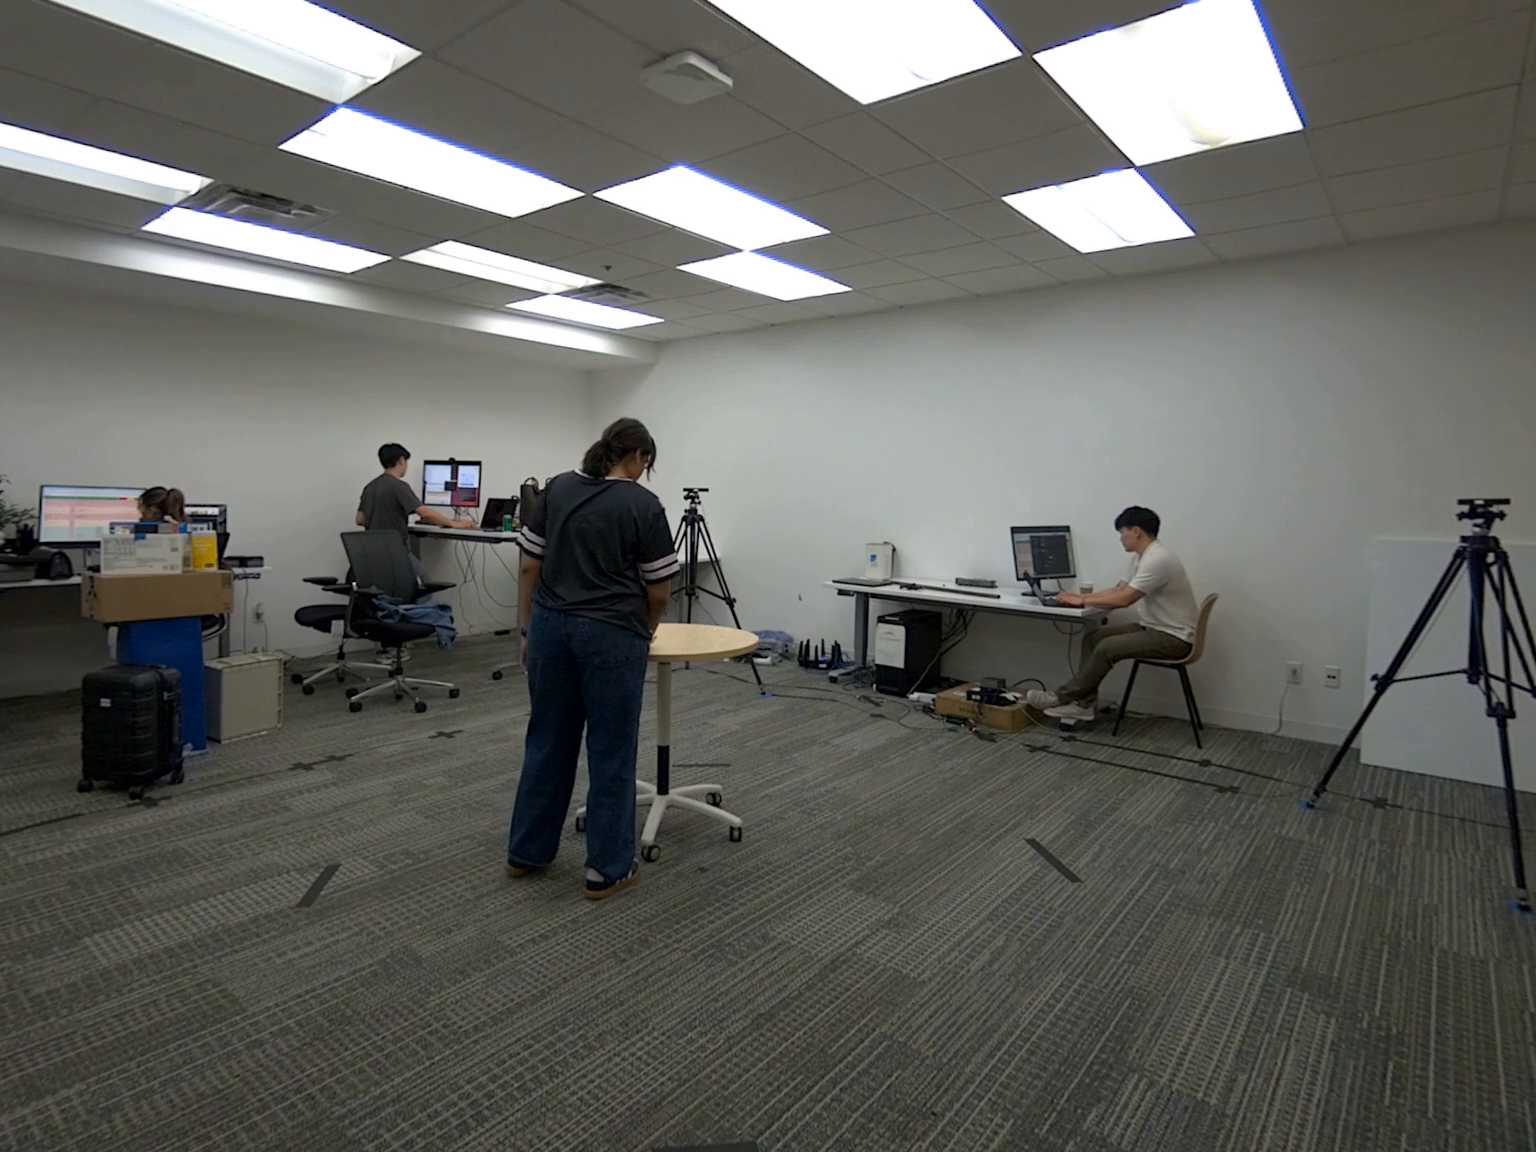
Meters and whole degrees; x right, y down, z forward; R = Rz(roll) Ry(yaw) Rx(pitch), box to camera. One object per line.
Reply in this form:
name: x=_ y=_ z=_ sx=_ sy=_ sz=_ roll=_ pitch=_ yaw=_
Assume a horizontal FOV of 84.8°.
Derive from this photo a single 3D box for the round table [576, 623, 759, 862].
round table: x=-0.448 y=0.636 z=3.481 sx=0.784 sy=0.784 sz=0.789 roll=1 pitch=4 yaw=-2
